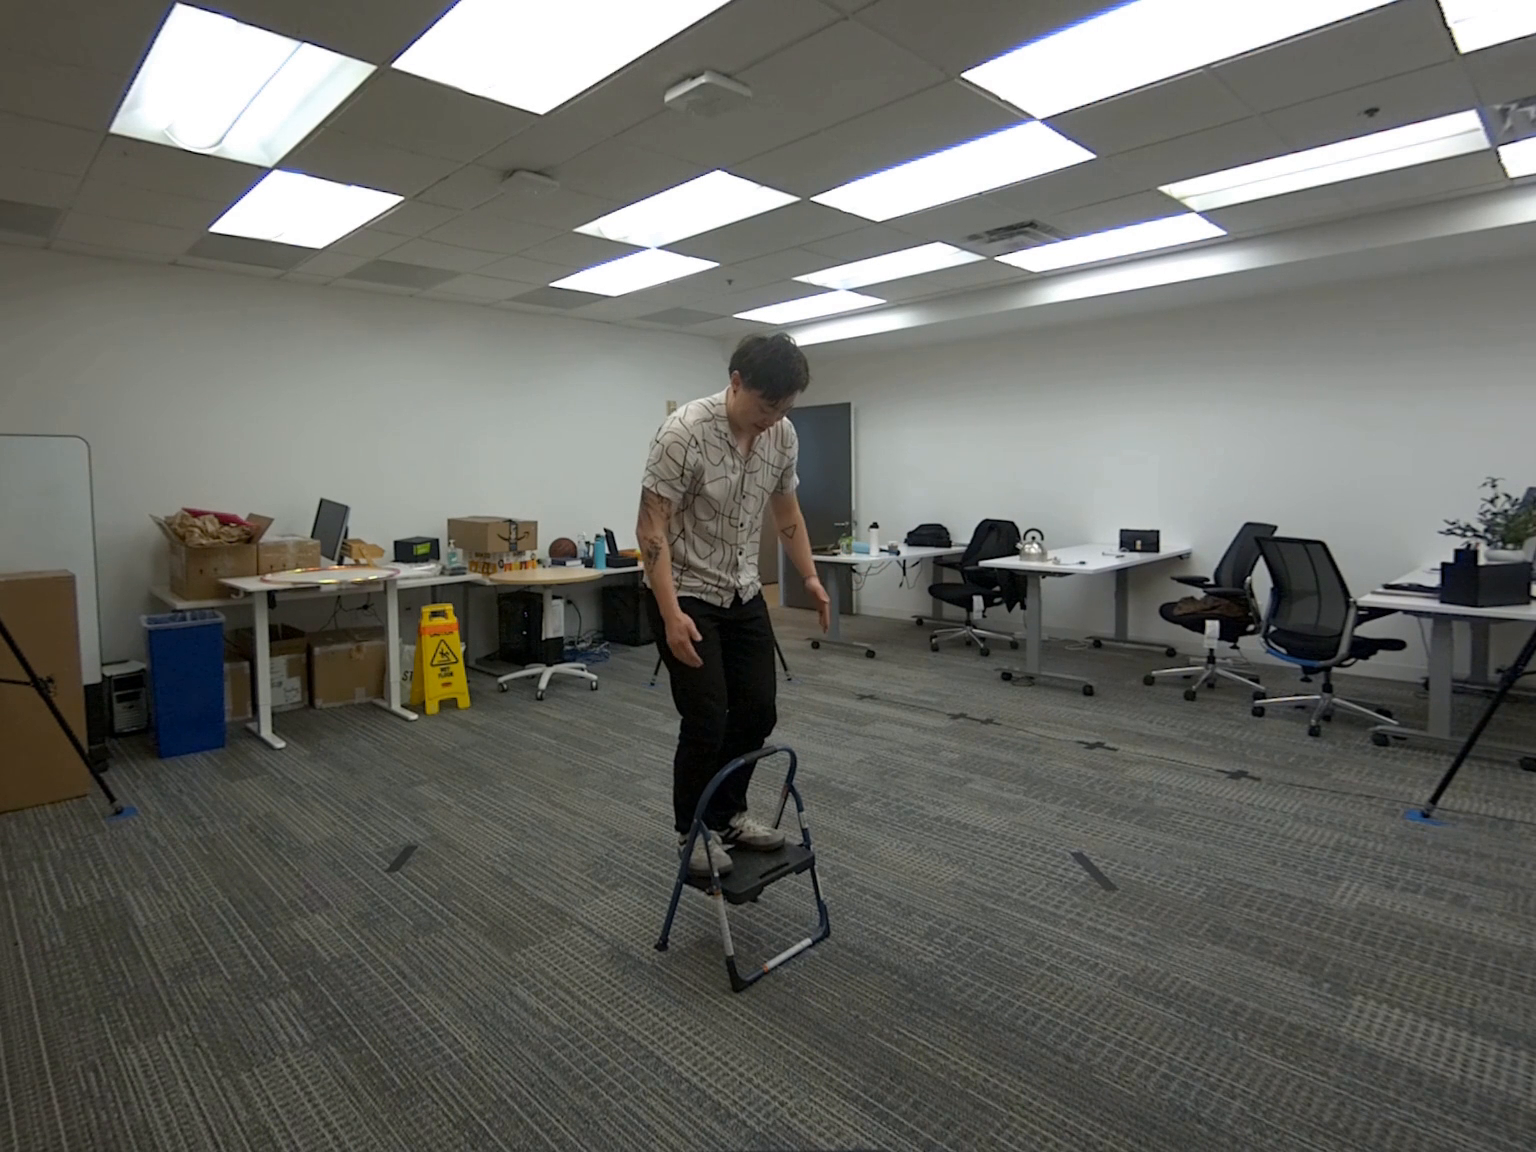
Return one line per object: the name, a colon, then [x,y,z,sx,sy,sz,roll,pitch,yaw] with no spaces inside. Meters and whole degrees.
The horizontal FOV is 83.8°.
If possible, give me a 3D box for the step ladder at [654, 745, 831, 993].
step ladder: [-0.071,0.804,2.563,0.360,0.603,0.419,4,7,43]
